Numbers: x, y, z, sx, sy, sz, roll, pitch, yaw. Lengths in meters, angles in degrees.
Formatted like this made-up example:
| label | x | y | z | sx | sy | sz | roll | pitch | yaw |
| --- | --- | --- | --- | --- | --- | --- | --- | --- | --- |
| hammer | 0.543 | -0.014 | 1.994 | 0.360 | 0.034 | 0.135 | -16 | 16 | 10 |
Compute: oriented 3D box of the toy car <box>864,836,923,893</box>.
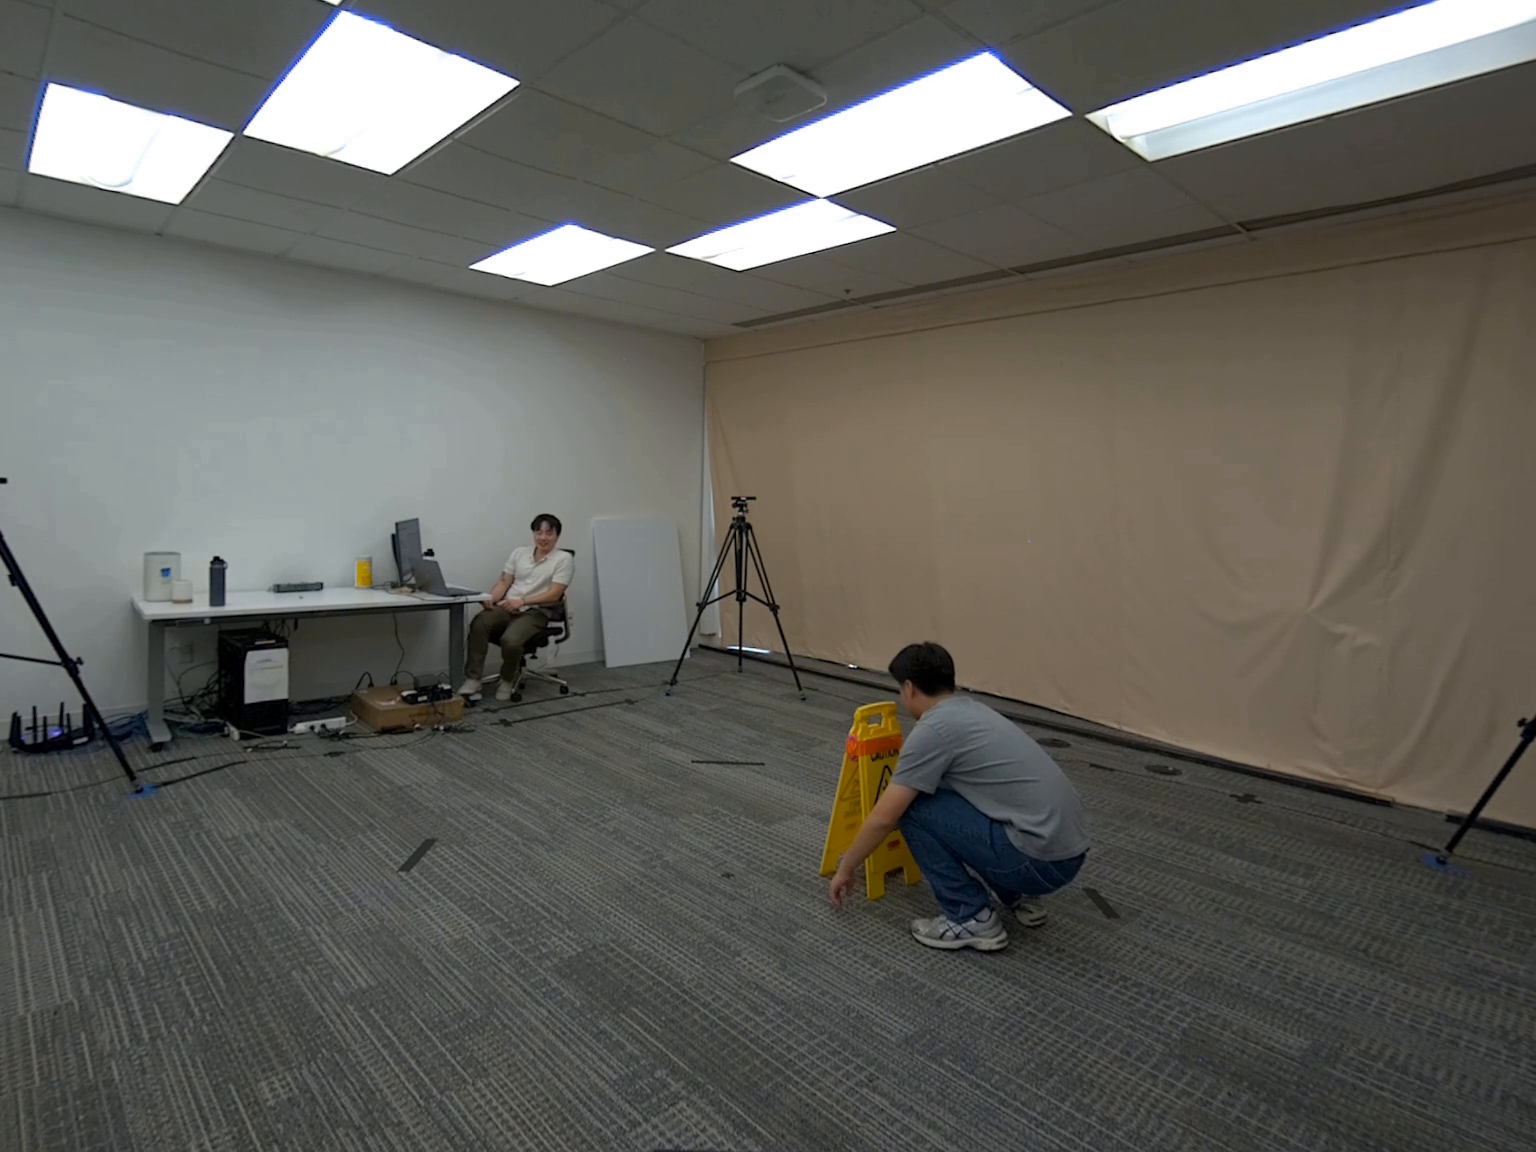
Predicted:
| label | x | y | z | sx | sy | sz | roll | pitch | yaw |
| --- | --- | --- | --- | --- | --- | --- | --- | --- | --- |
| toy car | 0.507 | 1.085 | 3.219 | 0.250 | 0.082 | 0.134 | -14 | 15 | -35 |
